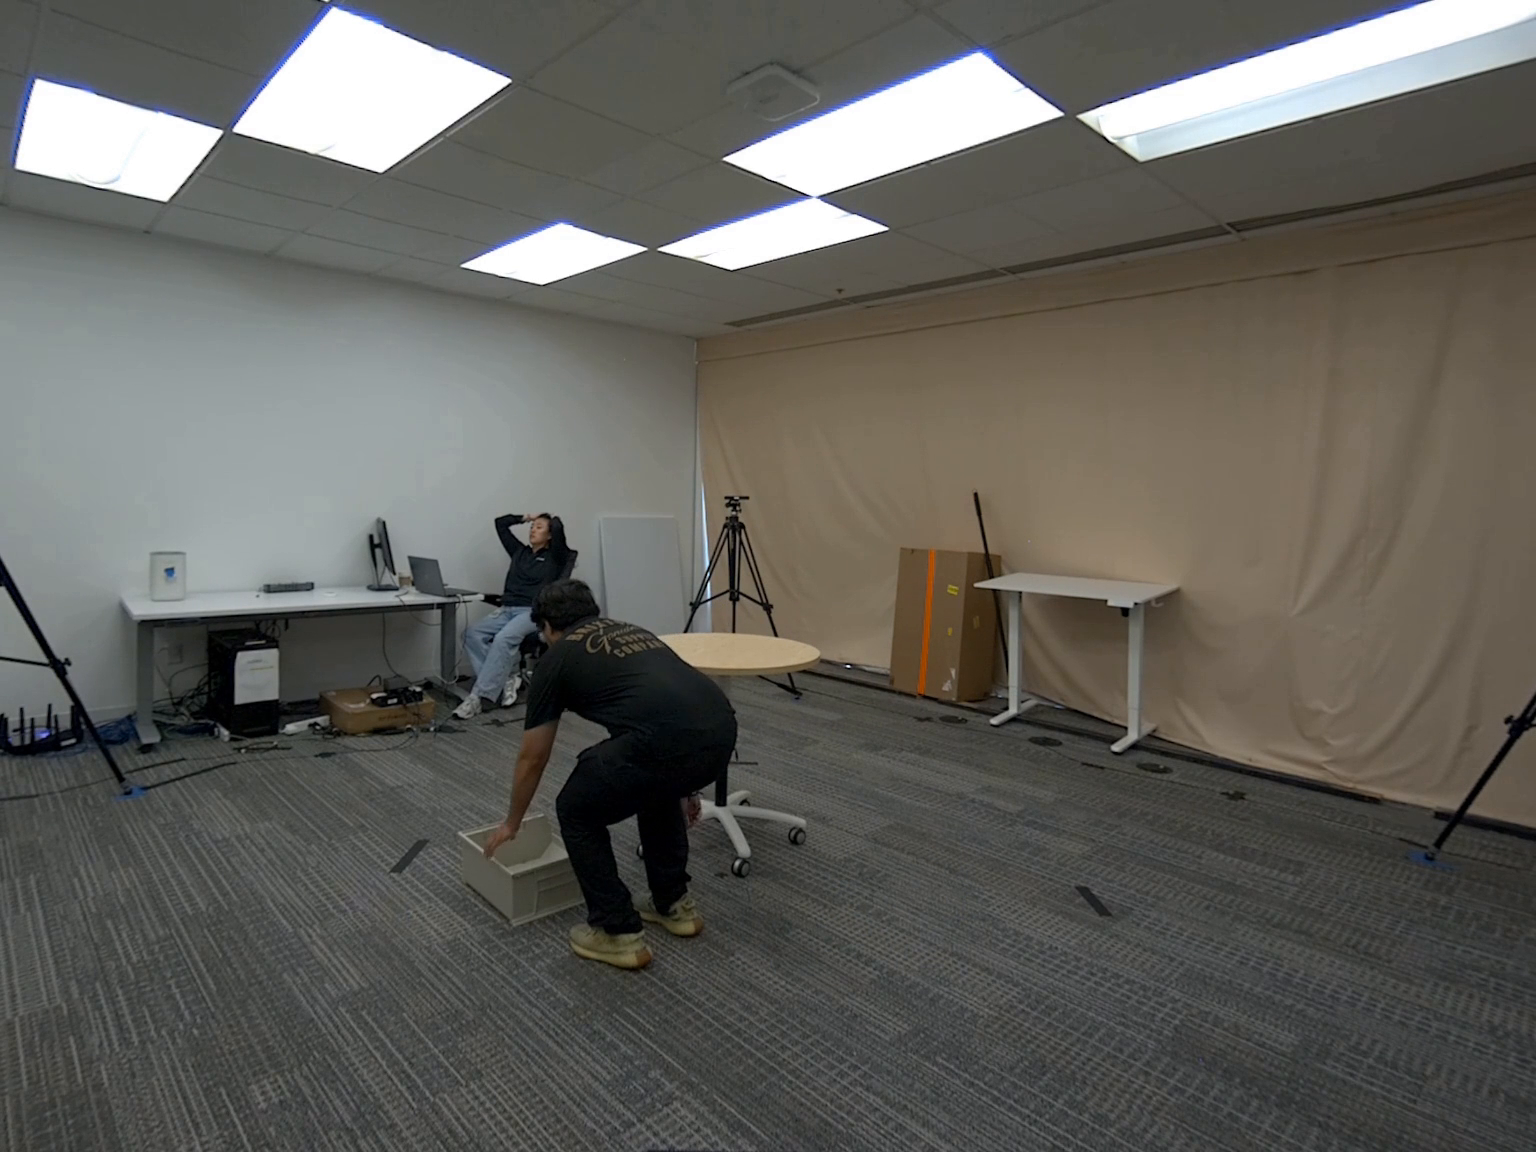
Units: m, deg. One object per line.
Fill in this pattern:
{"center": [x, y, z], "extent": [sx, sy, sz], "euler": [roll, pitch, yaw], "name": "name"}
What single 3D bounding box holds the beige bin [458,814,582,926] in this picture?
{"center": [-0.832, 1.014, 2.961], "extent": [0.369, 0.188, 0.433], "euler": [-5, 8, -42], "name": "beige bin"}
